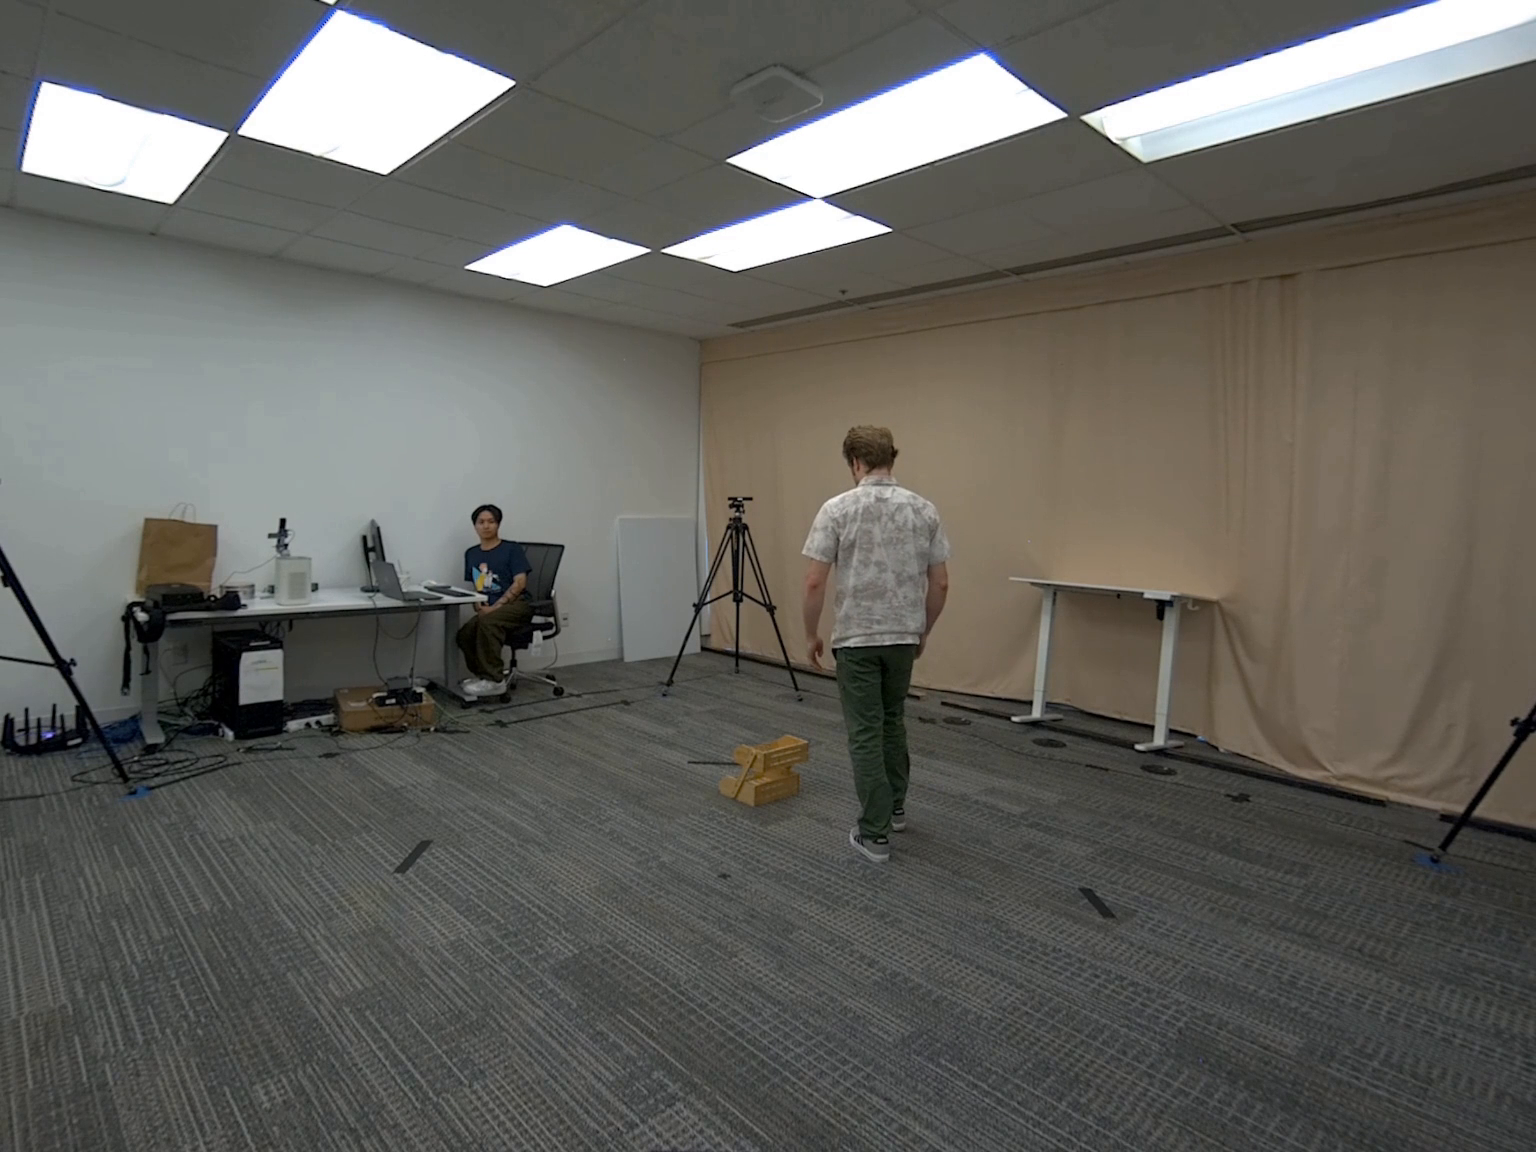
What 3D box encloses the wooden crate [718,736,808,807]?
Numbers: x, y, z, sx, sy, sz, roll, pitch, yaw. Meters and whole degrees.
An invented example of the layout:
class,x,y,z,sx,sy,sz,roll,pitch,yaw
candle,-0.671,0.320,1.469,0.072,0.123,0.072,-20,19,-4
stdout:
class,x,y,z,sx,sy,sz,roll,pitch,yaw
wooden crate,-0.034,0.902,4.002,0.317,0.272,0.310,-2,6,-44
